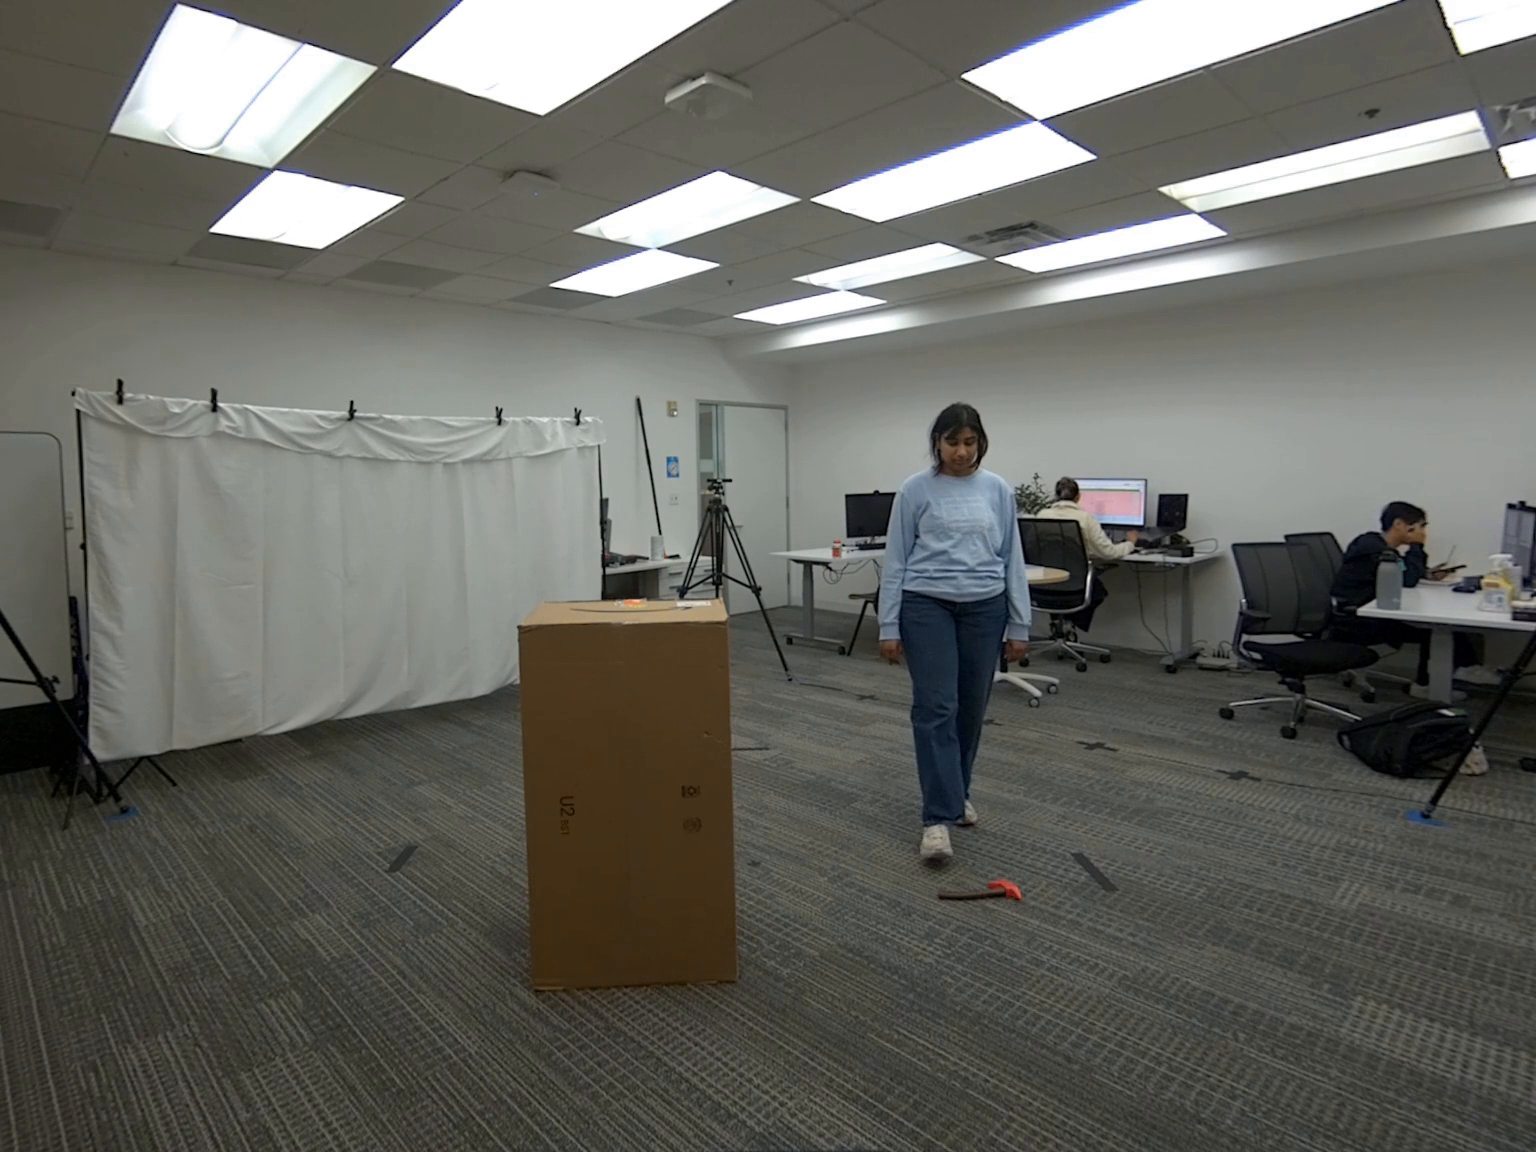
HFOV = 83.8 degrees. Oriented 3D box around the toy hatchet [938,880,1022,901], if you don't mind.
[{"bbox_3d":[0.702,1.050,2.861,0.272,0.029,0.131,-1,8,7],"label":"toy hatchet"}]
